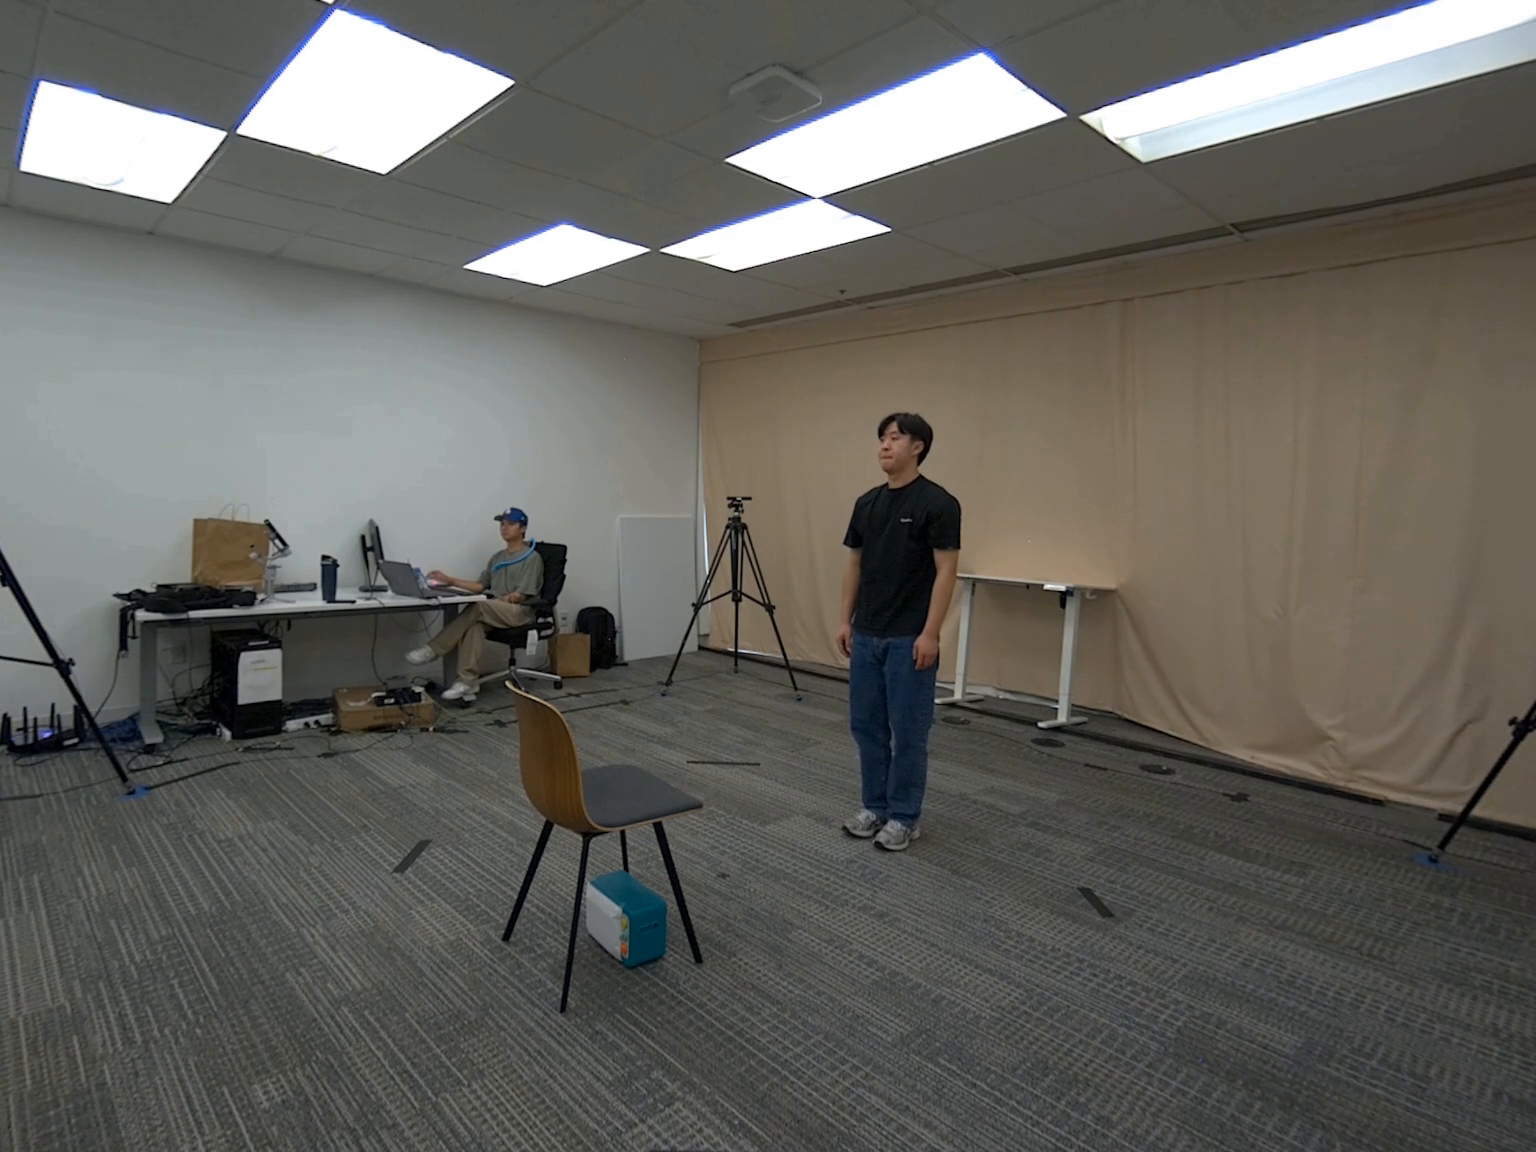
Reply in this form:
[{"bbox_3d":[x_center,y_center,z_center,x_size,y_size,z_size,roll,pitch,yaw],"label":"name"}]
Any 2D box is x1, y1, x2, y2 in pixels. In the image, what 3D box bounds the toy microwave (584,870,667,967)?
[{"bbox_3d":[-0.448,1.059,2.586,0.149,0.183,0.293,-2,5,-37],"label":"toy microwave"}]
